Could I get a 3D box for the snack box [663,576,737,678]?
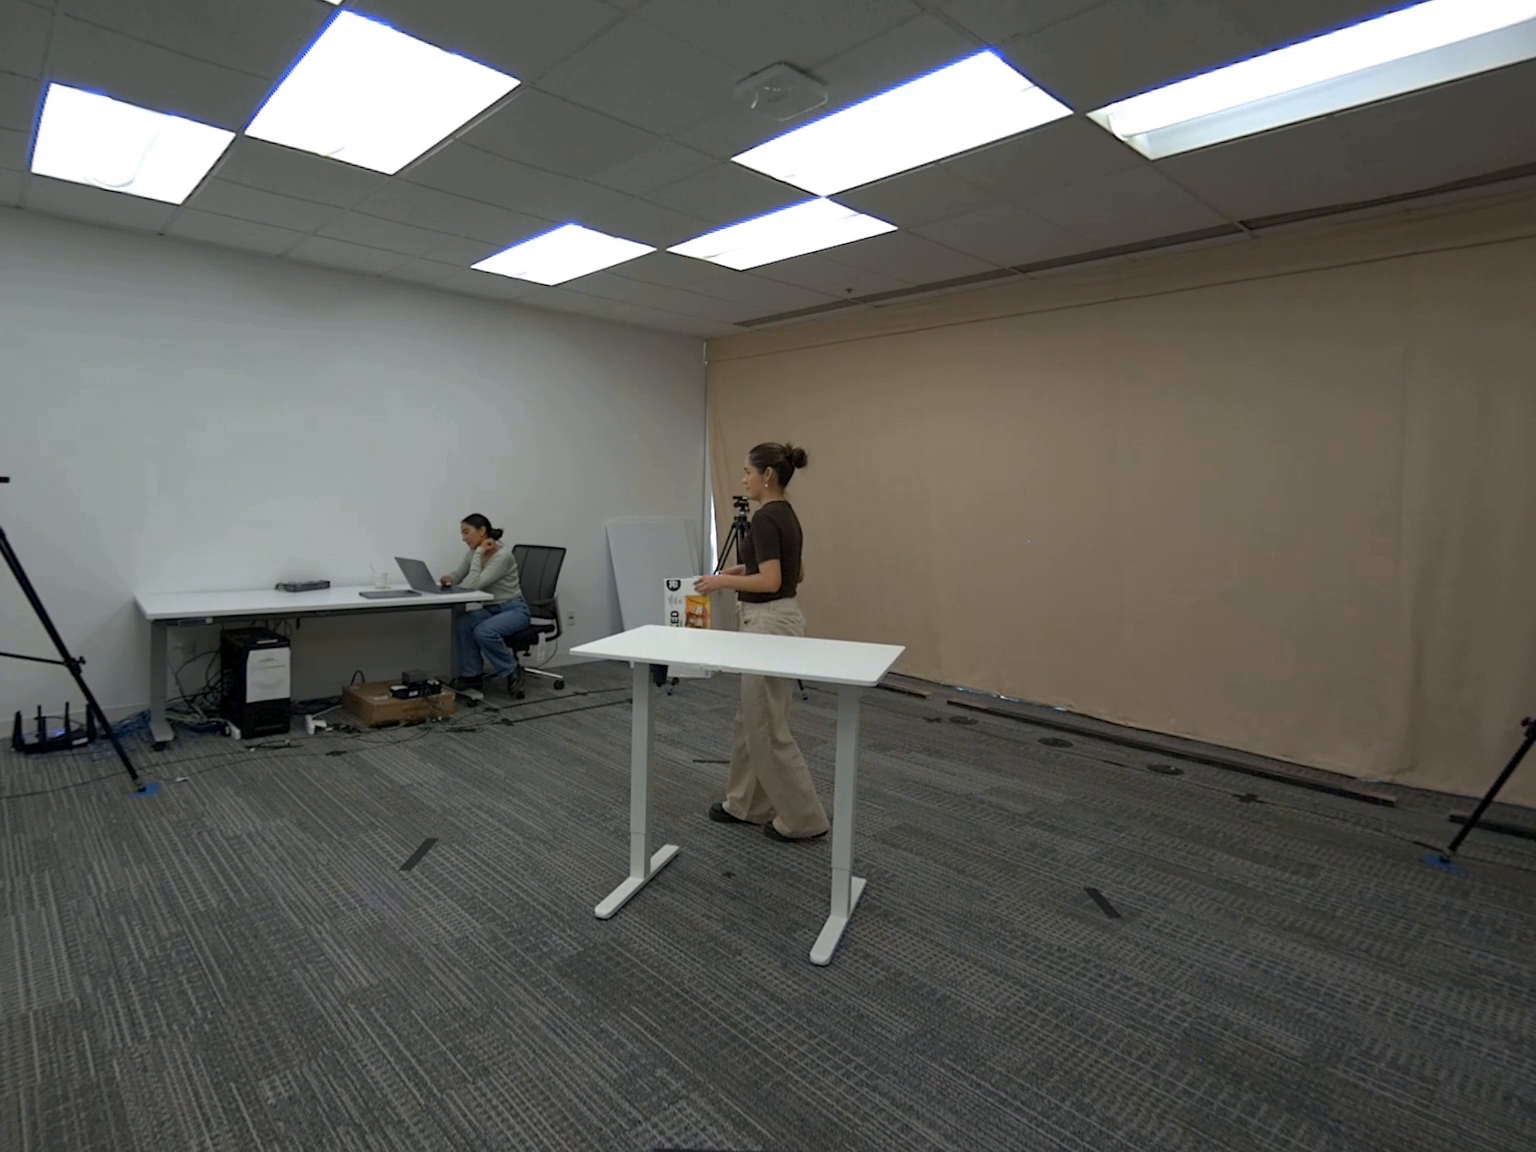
[{"bbox_3d":[-0.286,0.207,3.631,0.208,0.405,0.336,-1,1,17],"label":"snack box"}]
